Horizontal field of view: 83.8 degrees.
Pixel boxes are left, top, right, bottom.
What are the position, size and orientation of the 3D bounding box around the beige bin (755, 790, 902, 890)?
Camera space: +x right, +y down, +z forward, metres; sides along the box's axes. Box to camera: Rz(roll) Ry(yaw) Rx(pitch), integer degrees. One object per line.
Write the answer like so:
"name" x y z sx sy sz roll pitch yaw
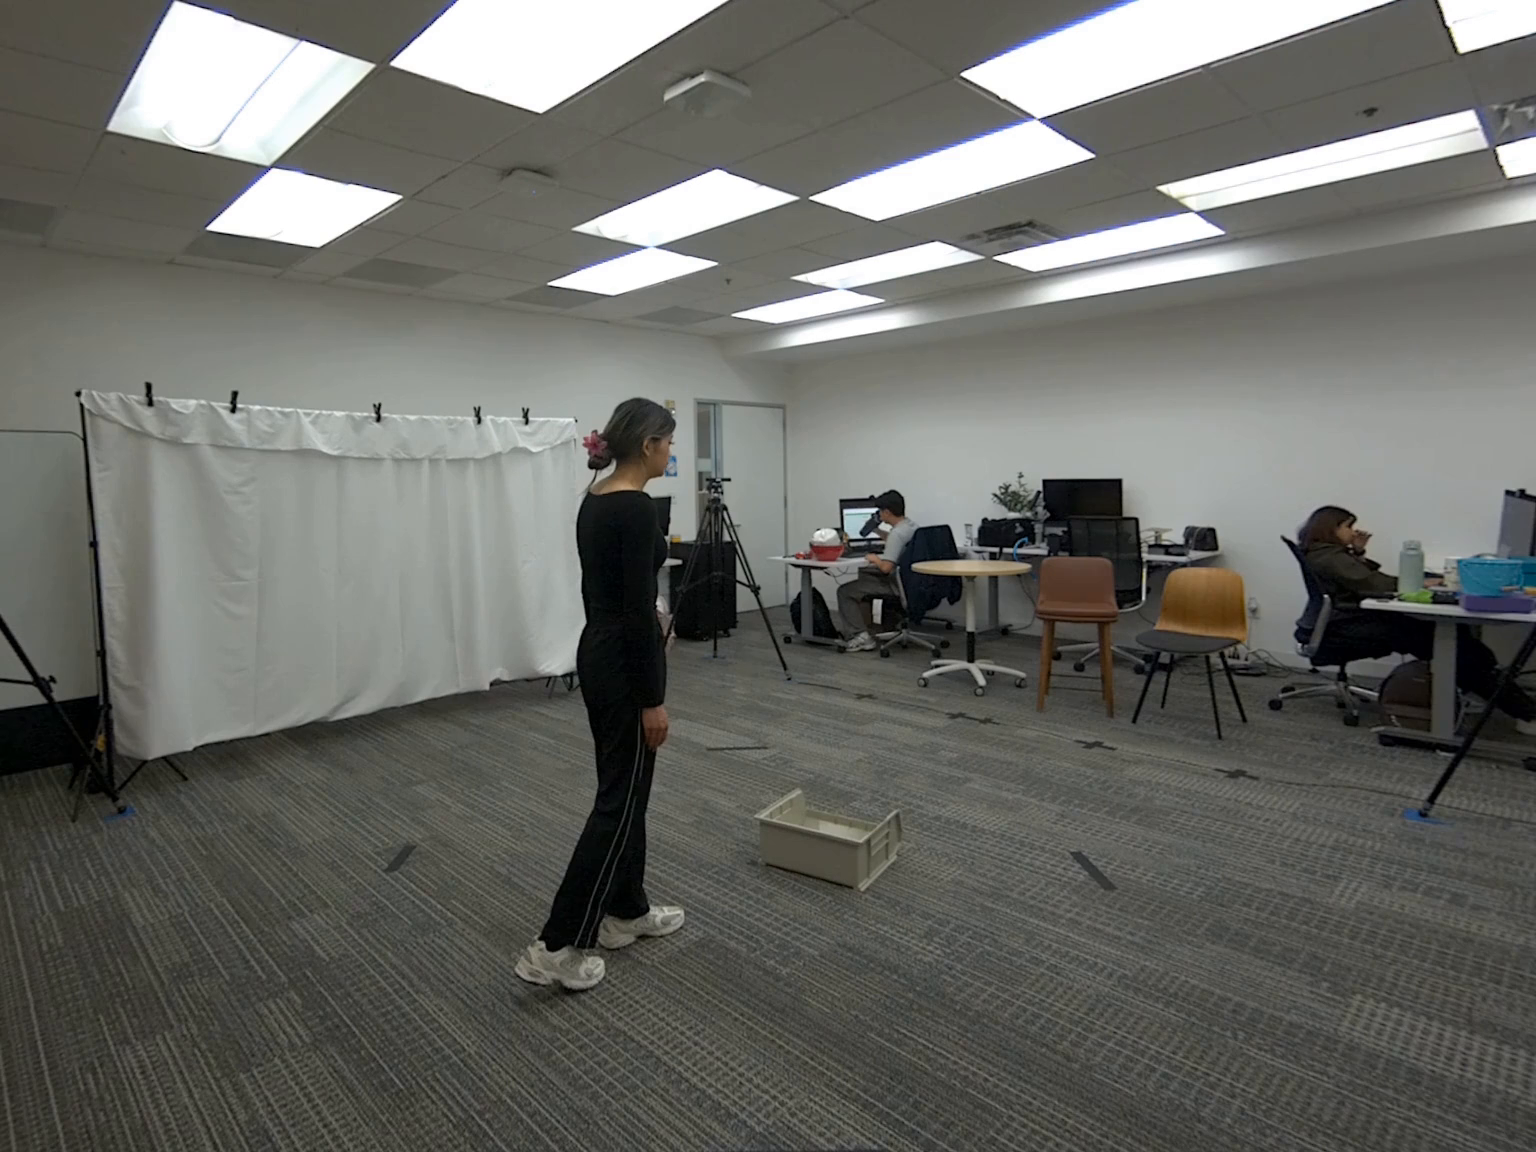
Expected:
"beige bin" 0.227 0.949 3.121 0.434 0.188 0.369 3 8 32
